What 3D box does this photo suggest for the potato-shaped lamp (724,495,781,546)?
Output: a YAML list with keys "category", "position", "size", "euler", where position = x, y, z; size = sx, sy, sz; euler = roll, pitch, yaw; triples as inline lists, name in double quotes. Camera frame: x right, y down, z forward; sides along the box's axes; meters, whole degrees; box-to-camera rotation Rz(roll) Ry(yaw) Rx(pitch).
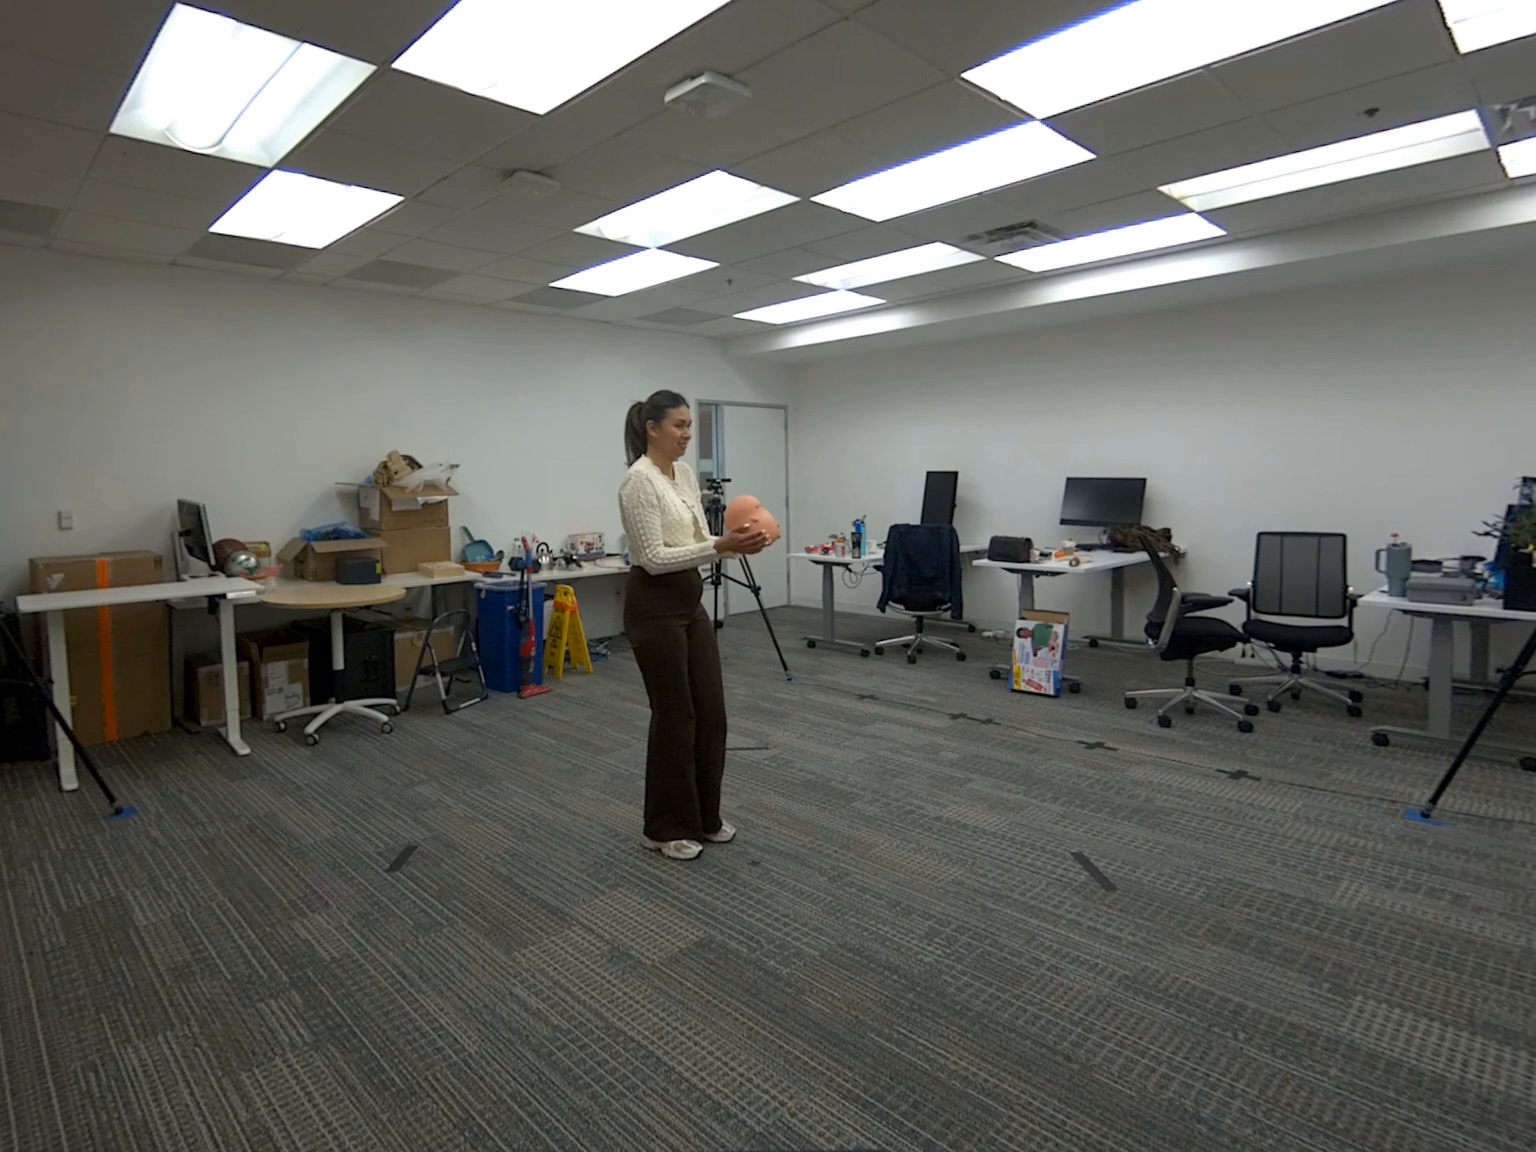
- category: "potato-shaped lamp"
  position: [-0.061, -0.187, 2.998]
  size: [0.175, 0.195, 0.164]
  euler: [-12, 14, 29]
